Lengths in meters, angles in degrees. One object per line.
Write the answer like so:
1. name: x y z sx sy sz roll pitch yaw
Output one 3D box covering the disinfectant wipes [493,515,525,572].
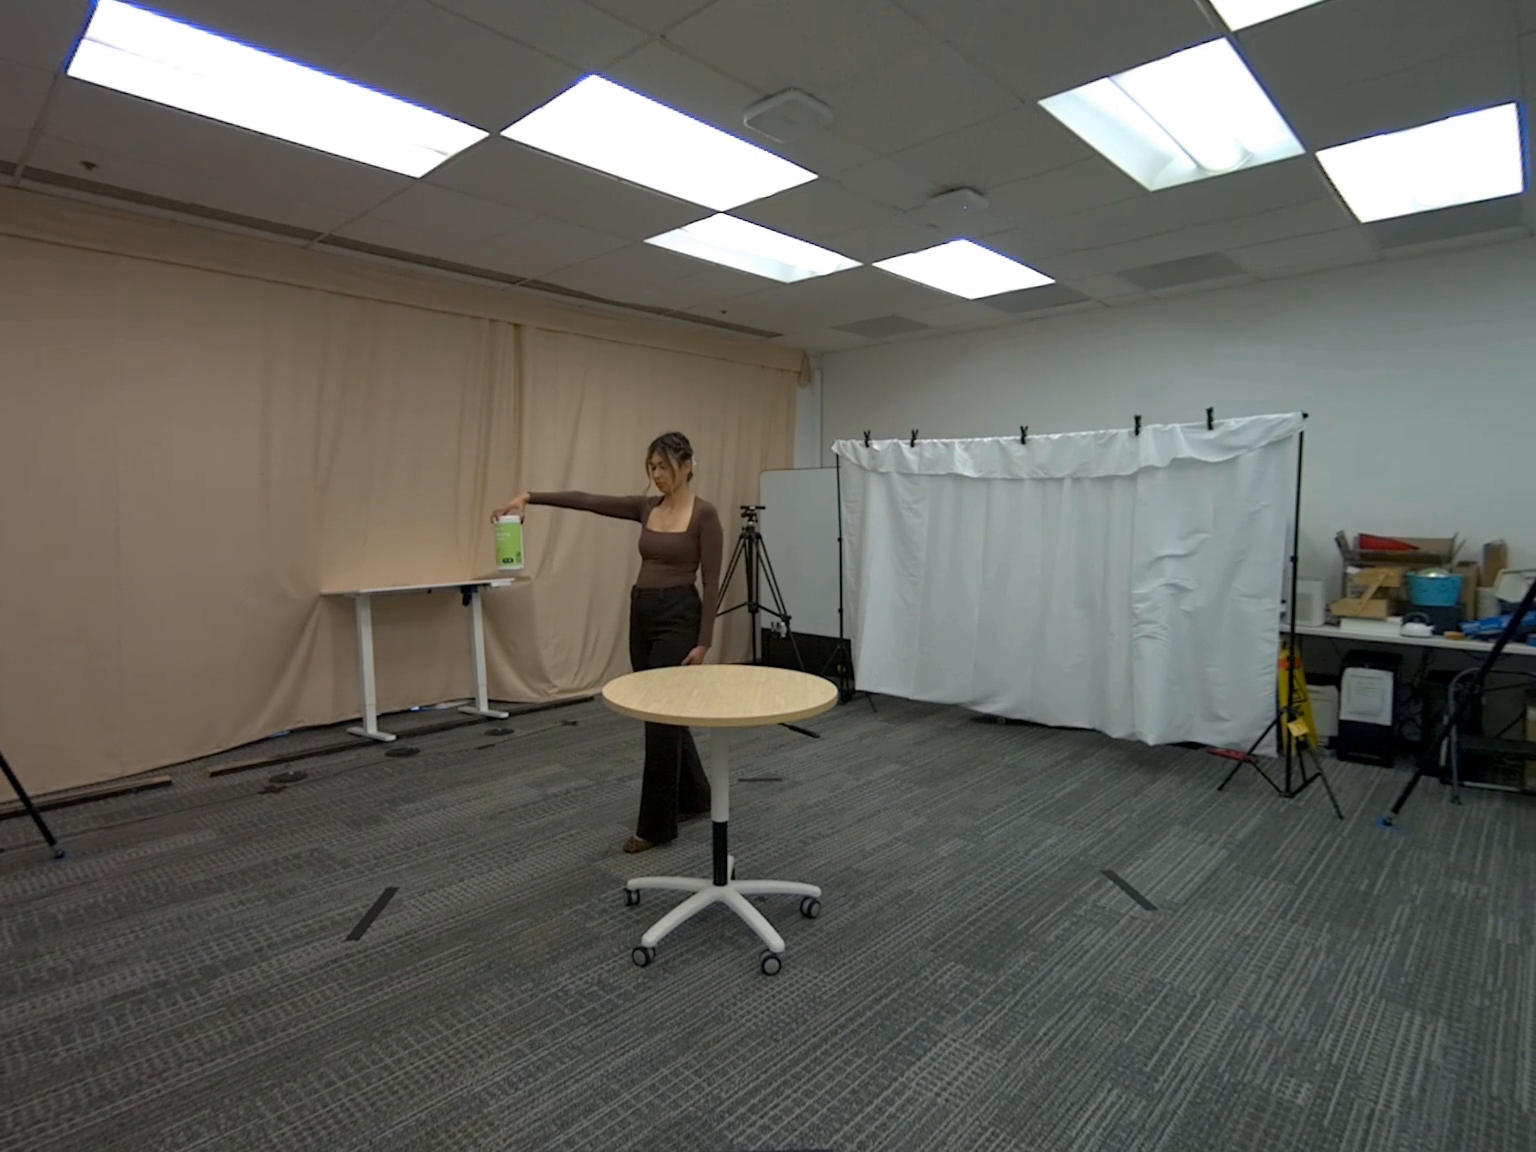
1. disinfectant wipes: -1.026 -0.129 3.338 0.118 0.217 0.118 -2 3 -2
